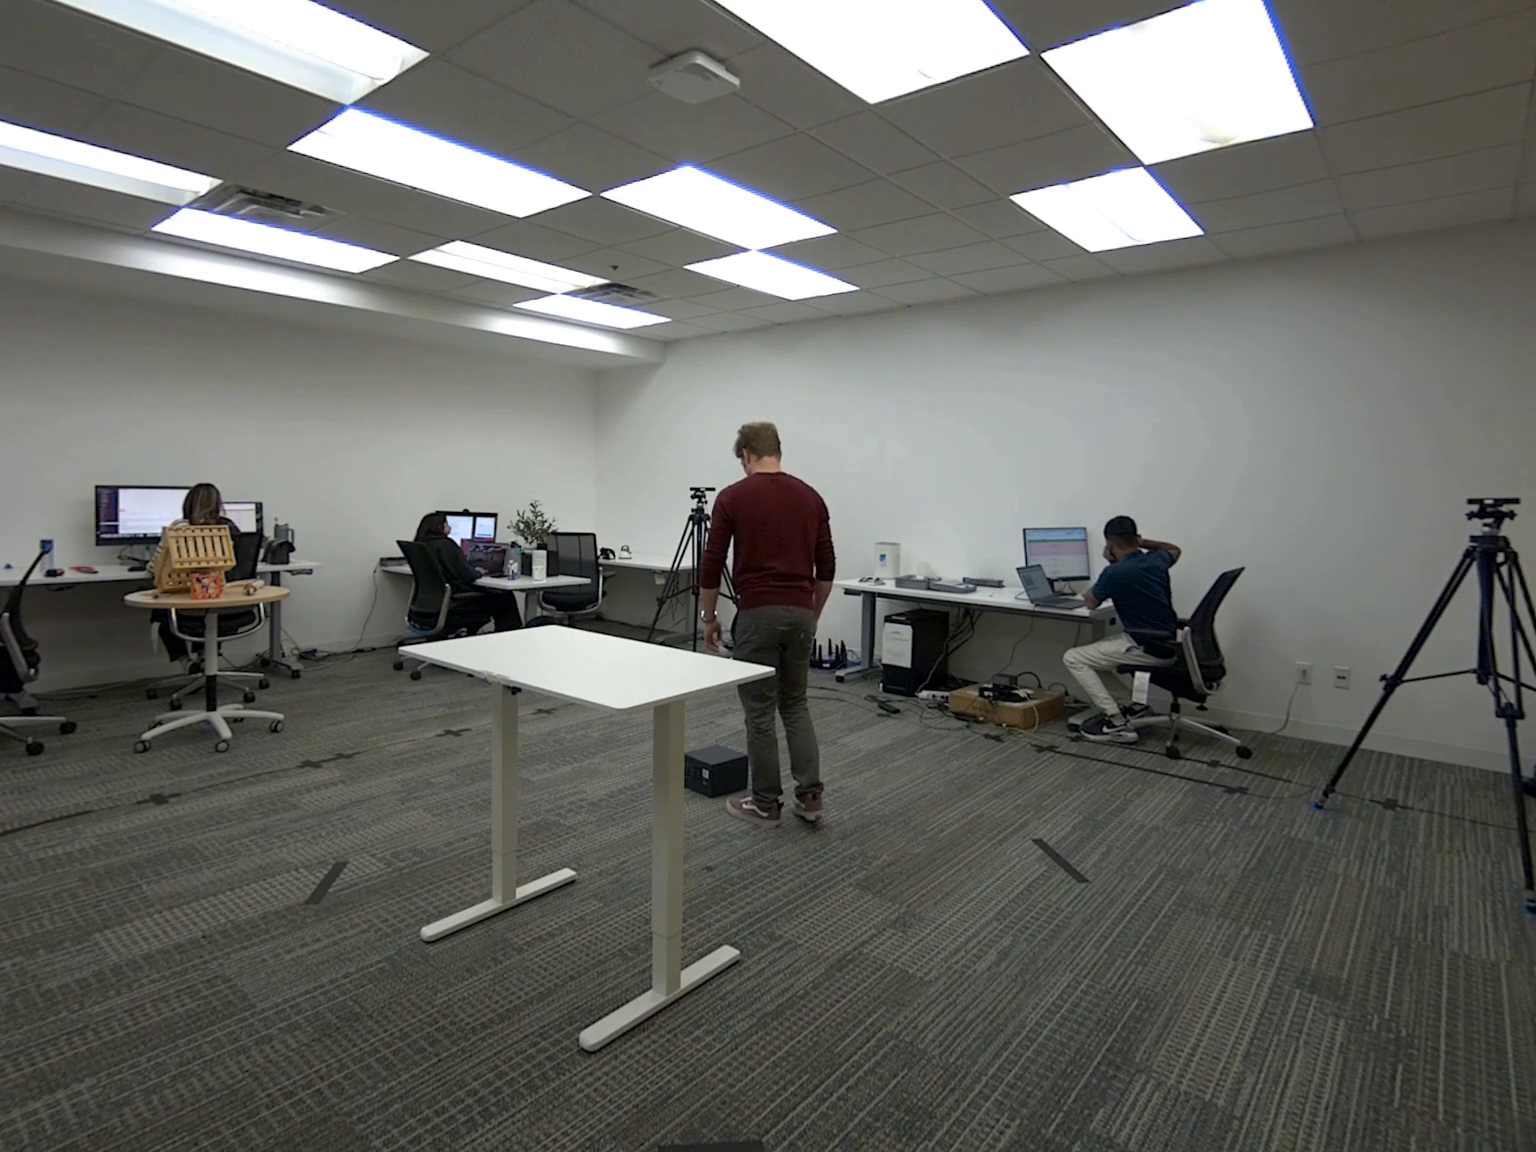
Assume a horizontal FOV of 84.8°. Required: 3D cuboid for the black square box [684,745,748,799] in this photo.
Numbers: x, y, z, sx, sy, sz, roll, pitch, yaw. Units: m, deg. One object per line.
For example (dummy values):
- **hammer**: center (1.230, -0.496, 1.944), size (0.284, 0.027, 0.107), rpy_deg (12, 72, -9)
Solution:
- **black square box**: center (-0.258, 0.899, 3.961), size (0.221, 0.155, 0.224), rpy_deg (-4, 6, -44)
